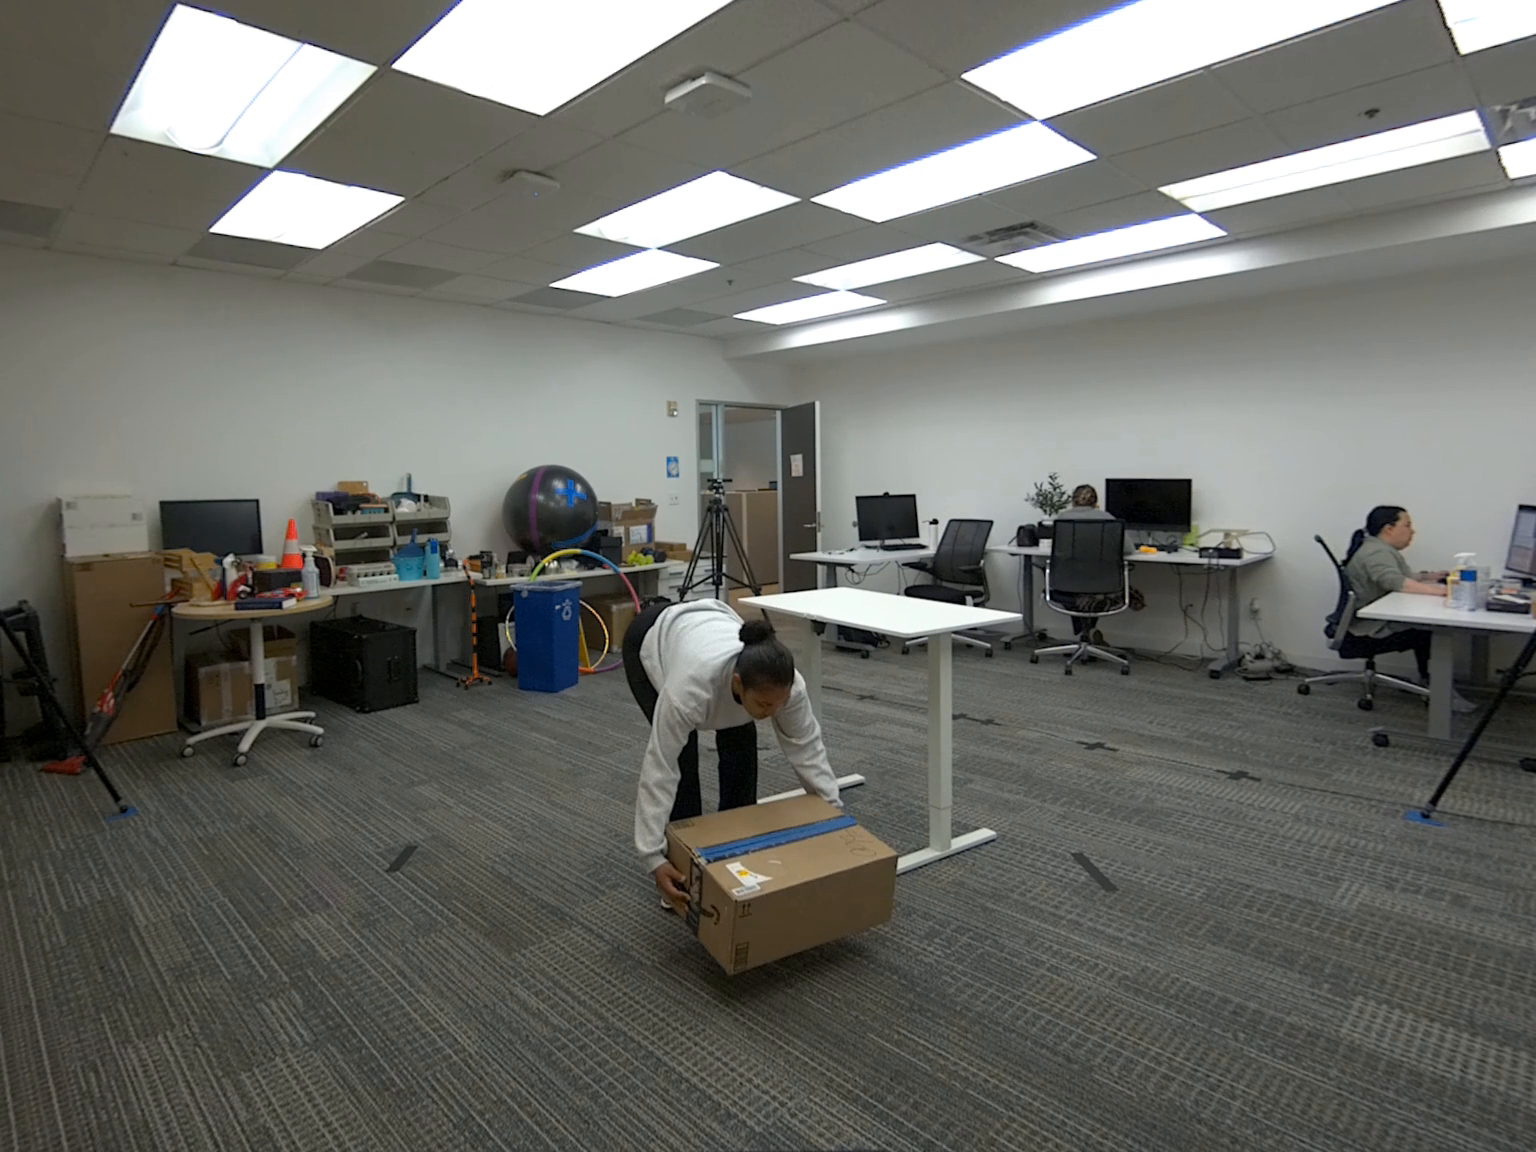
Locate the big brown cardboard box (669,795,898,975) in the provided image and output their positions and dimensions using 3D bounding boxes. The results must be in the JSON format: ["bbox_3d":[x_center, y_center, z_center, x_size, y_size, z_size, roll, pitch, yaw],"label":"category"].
[{"bbox_3d":[0.023,0.875,2.507,0.574,0.231,0.432,-2,14,-34],"label":"big brown cardboard box"}]
